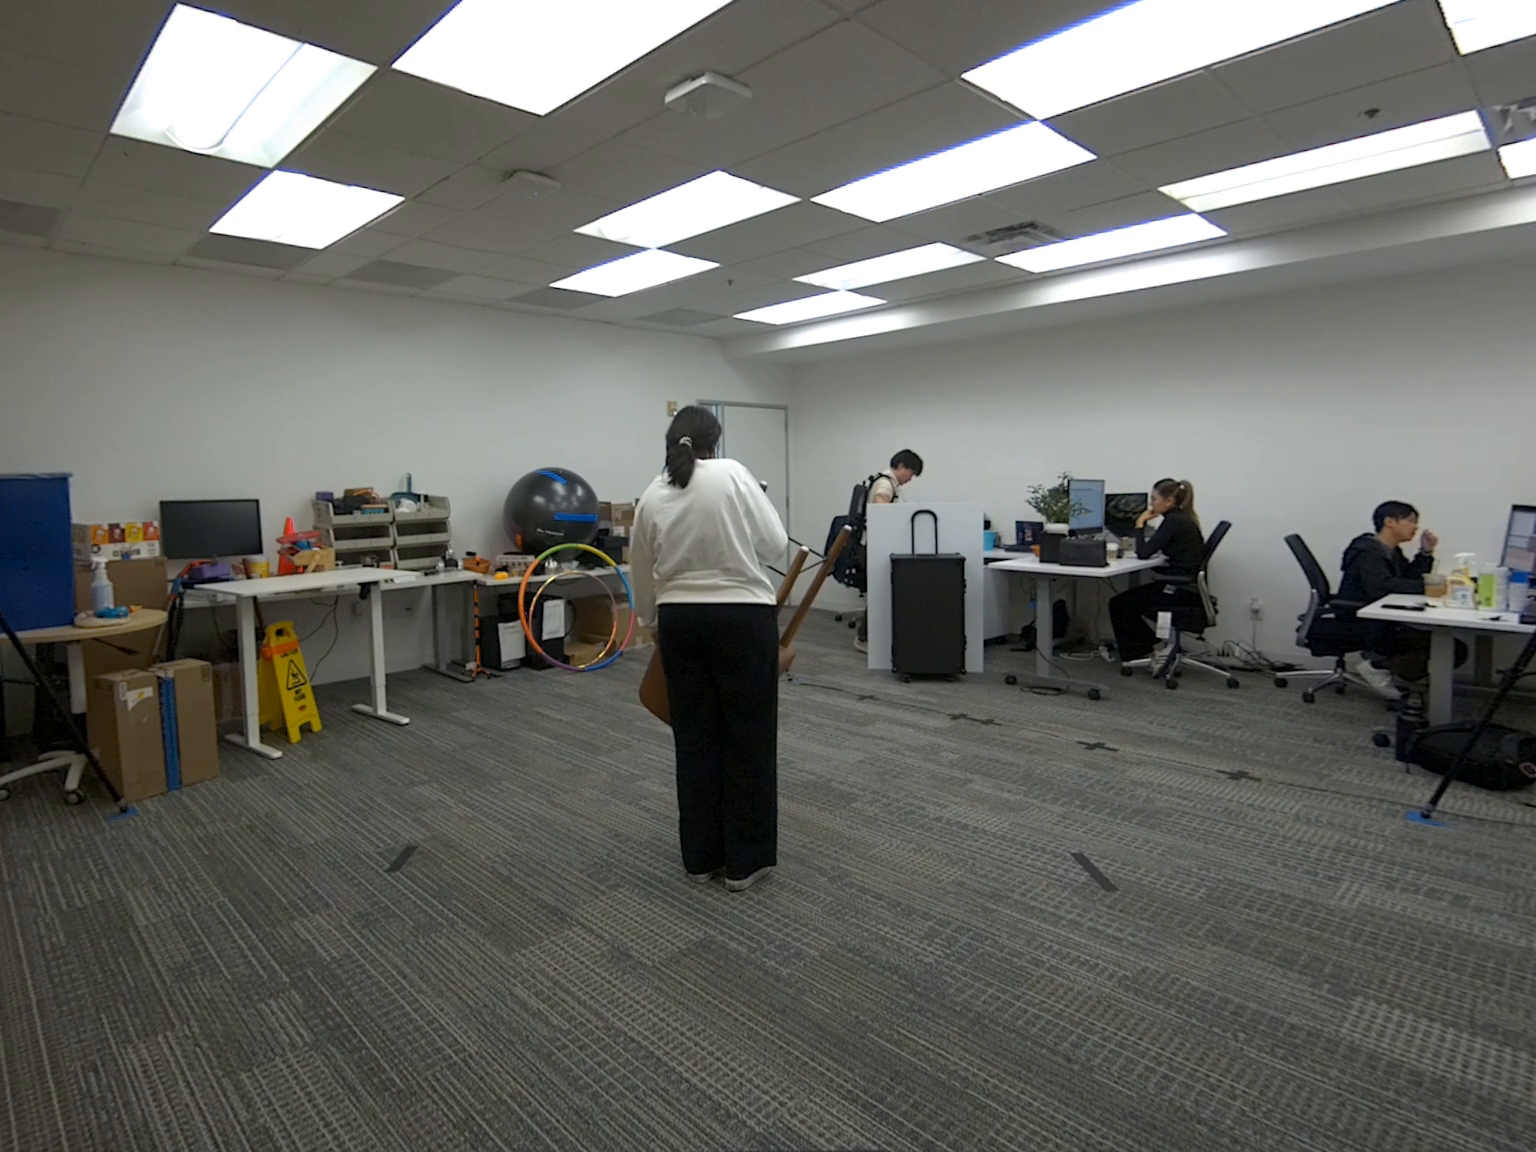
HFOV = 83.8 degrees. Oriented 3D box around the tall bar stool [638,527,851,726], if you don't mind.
[{"bbox_3d":[-0.100,0.146,3.275,0.467,0.882,0.461,31,21,17],"label":"tall bar stool"}]
